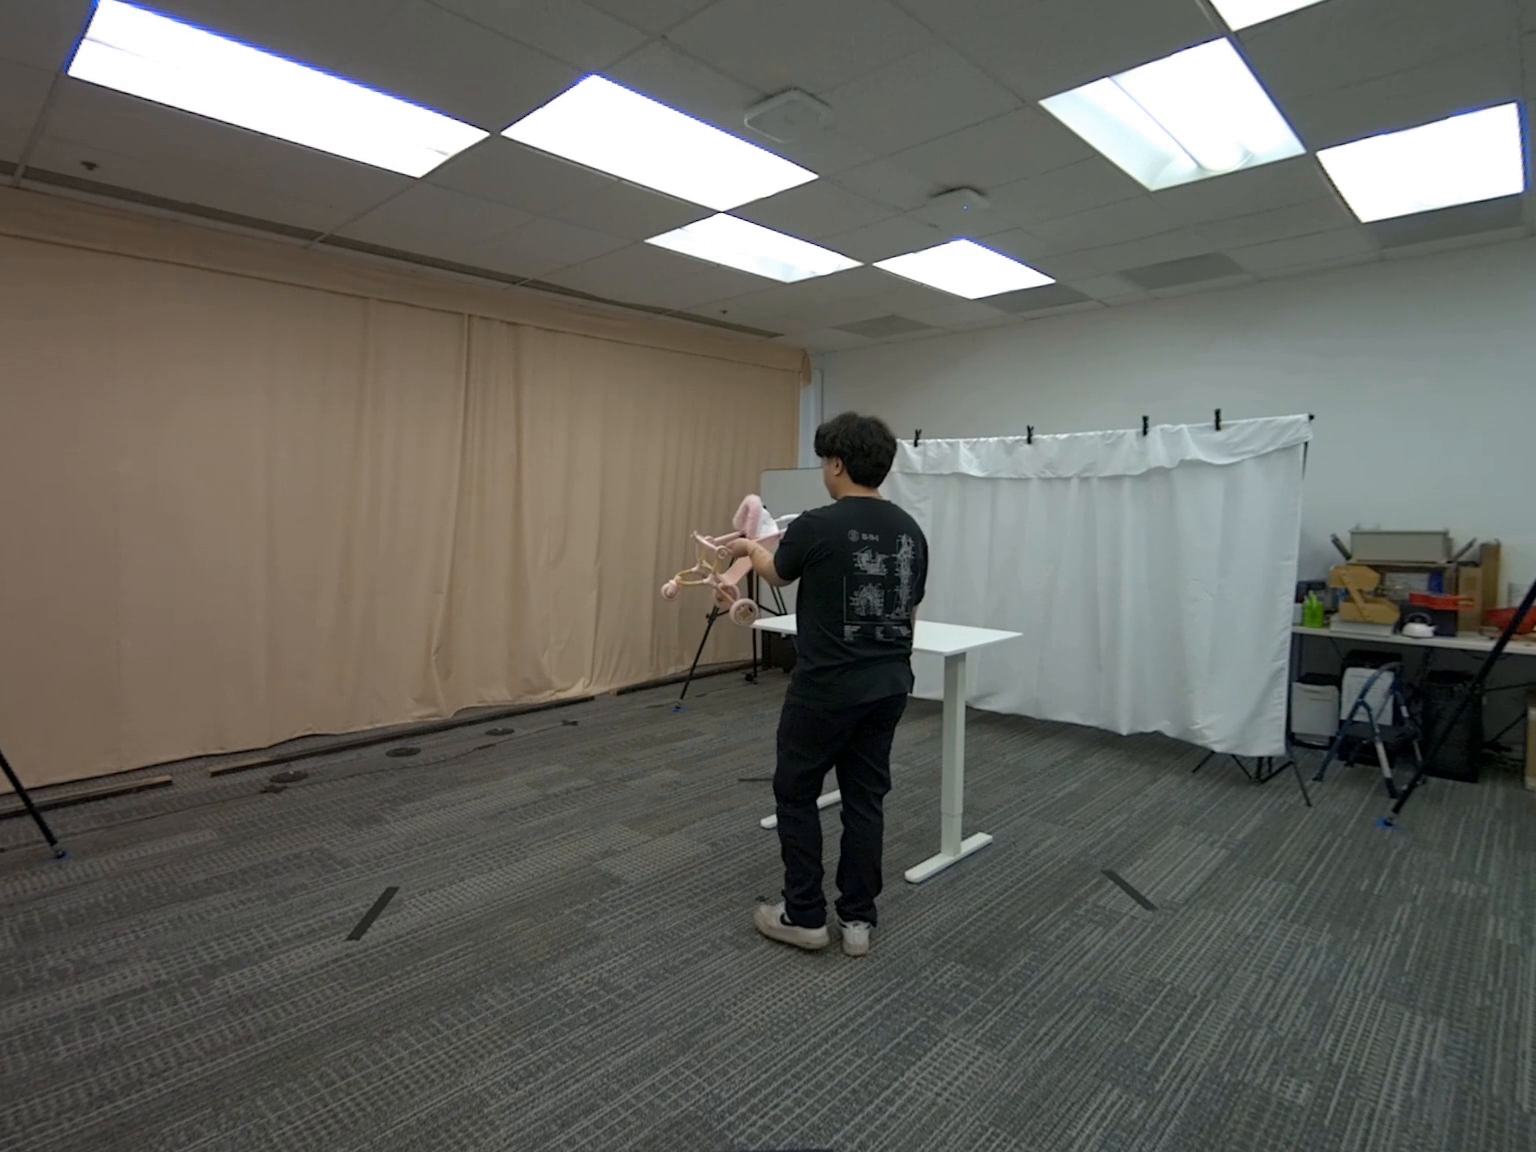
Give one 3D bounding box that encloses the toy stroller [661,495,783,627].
[{"bbox_3d":[-0.132,-0.074,3.152,0.335,0.535,0.286,31,3,-15],"label":"toy stroller"}]
